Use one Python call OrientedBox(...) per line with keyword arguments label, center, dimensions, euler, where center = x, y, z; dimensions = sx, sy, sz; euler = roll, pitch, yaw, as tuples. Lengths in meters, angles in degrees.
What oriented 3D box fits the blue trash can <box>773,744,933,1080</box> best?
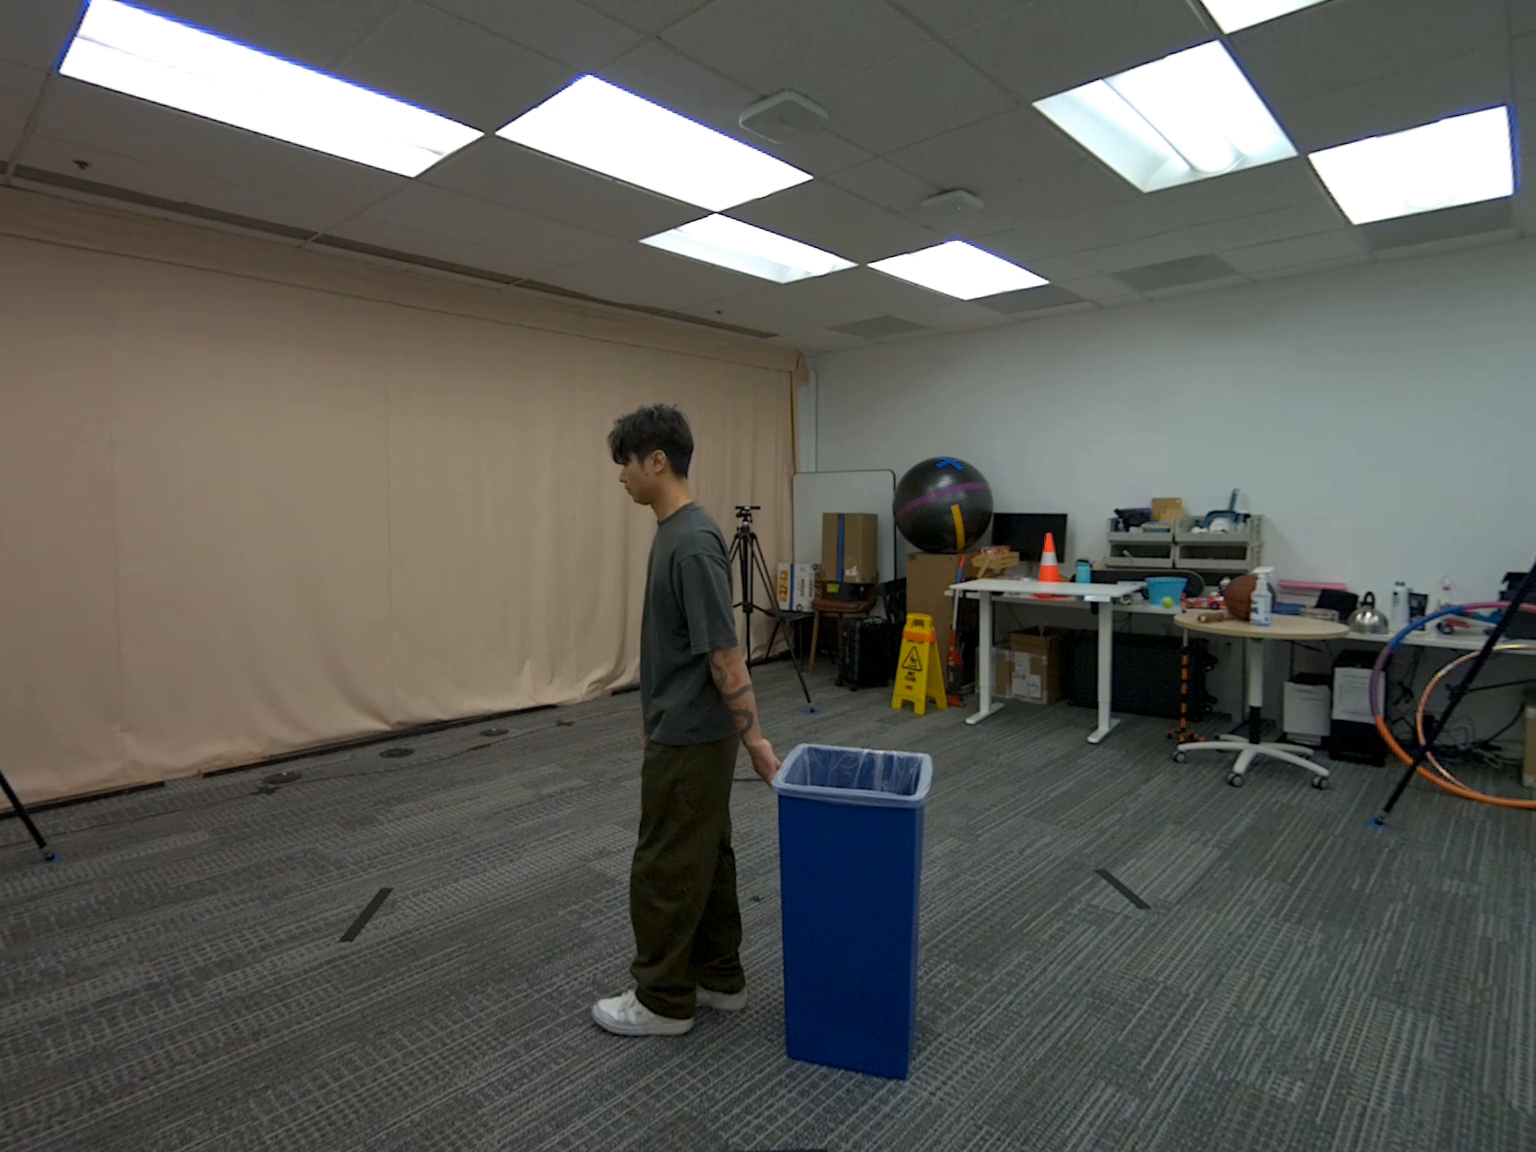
OrientedBox(label="blue trash can", center=(0.232, 0.853, 2.187), dimensions=(0.384, 0.712, 0.368), euler=(0, 3, 15))
